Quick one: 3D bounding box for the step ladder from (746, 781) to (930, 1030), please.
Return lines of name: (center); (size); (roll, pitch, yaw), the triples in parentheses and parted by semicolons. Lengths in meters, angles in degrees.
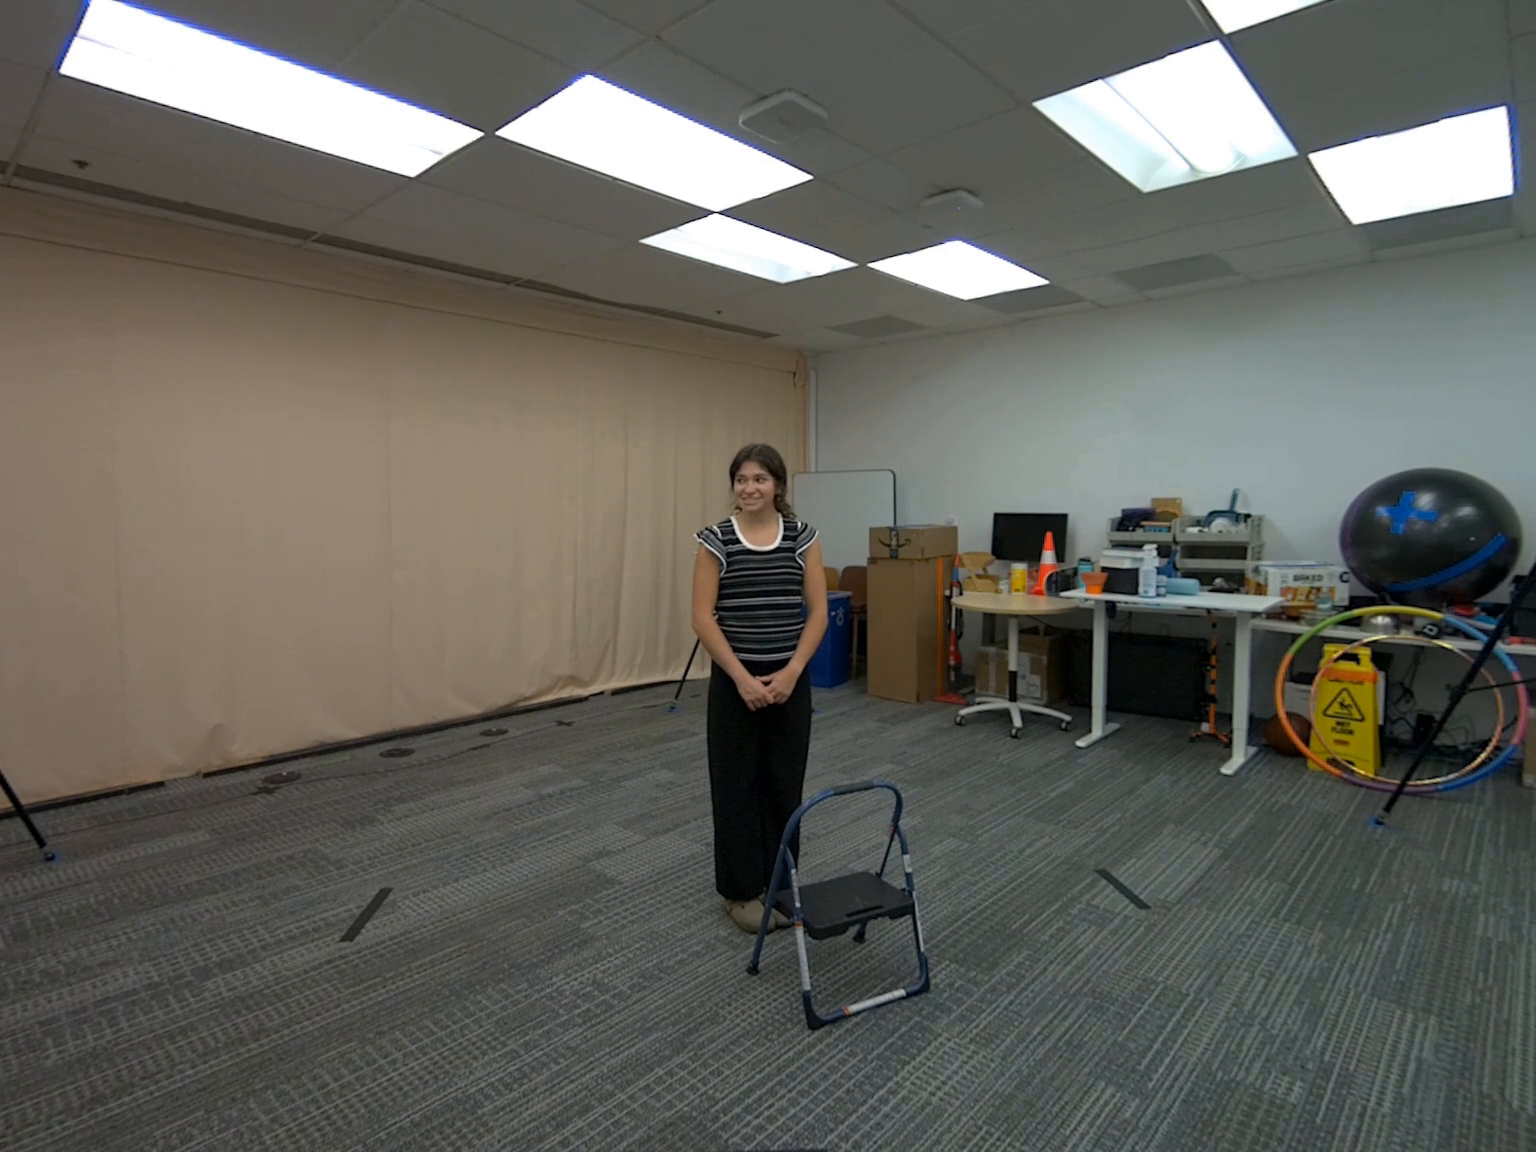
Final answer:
step ladder: (0.212, 0.885, 2.459); (0.419, 0.605, 0.359); (-2, 4, -30)
